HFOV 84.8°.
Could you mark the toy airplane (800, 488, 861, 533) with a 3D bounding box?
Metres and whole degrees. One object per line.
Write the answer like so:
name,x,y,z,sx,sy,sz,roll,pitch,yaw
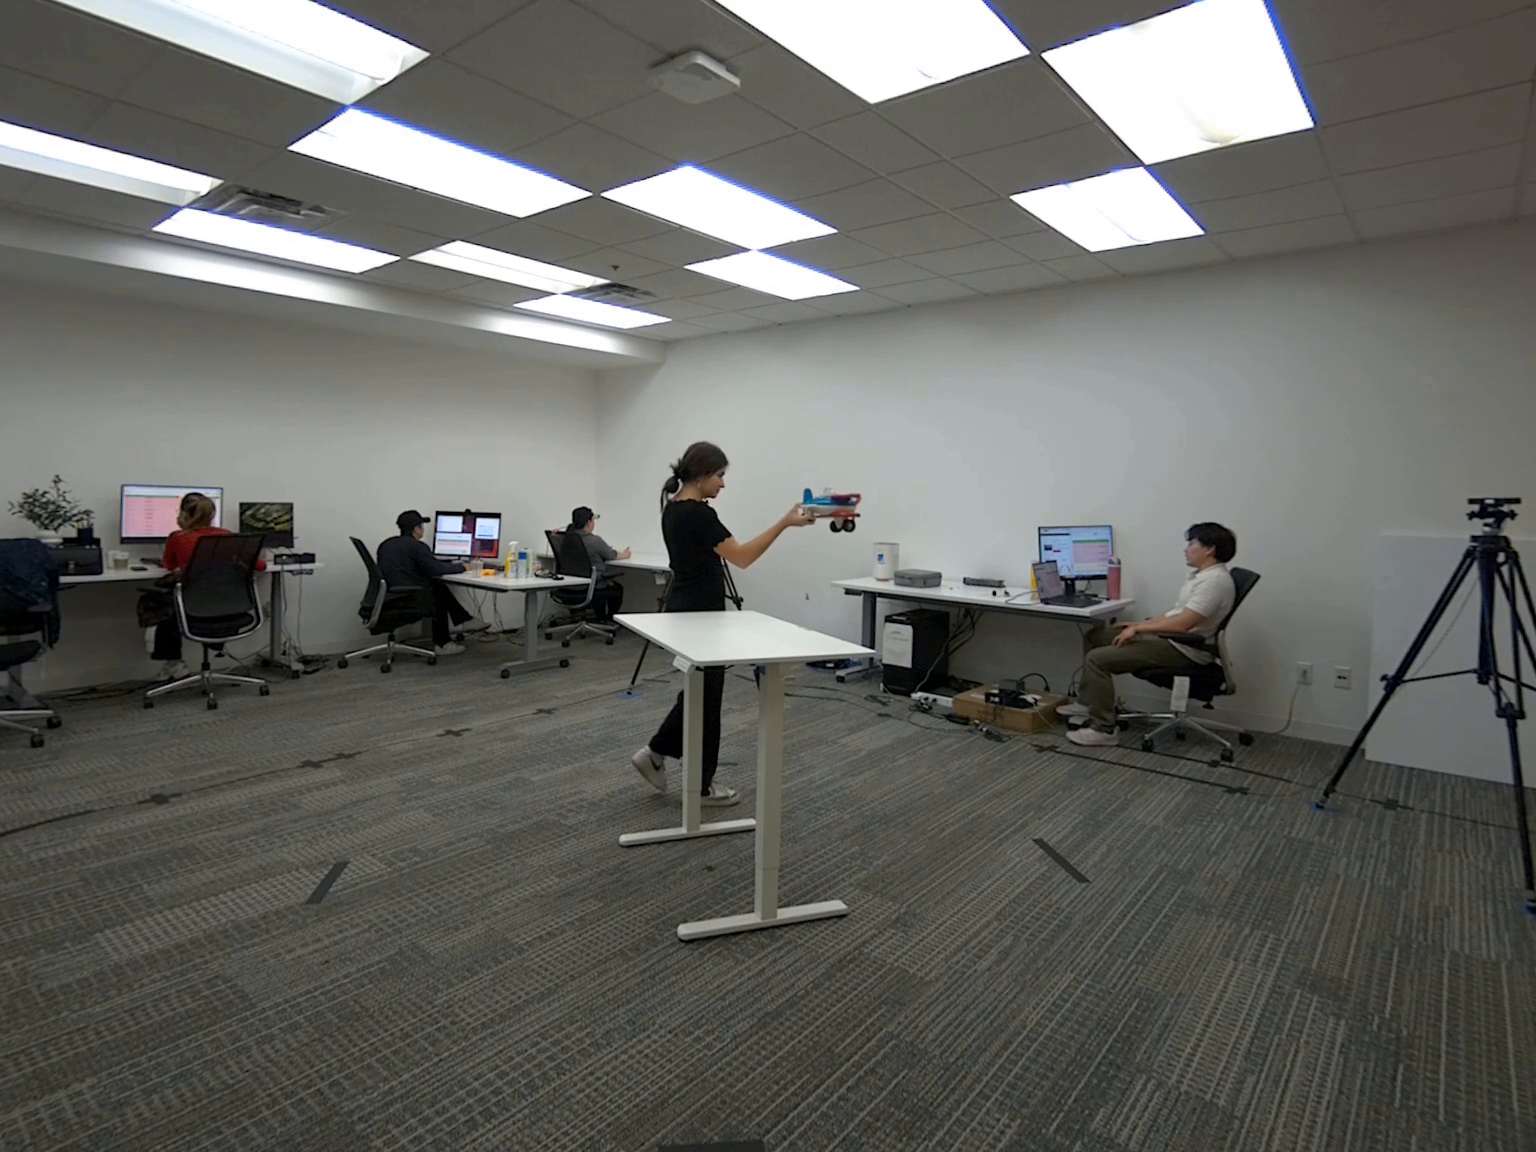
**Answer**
toy airplane,0.241,-0.278,3.462,0.259,0.157,0.249,7,-9,33
